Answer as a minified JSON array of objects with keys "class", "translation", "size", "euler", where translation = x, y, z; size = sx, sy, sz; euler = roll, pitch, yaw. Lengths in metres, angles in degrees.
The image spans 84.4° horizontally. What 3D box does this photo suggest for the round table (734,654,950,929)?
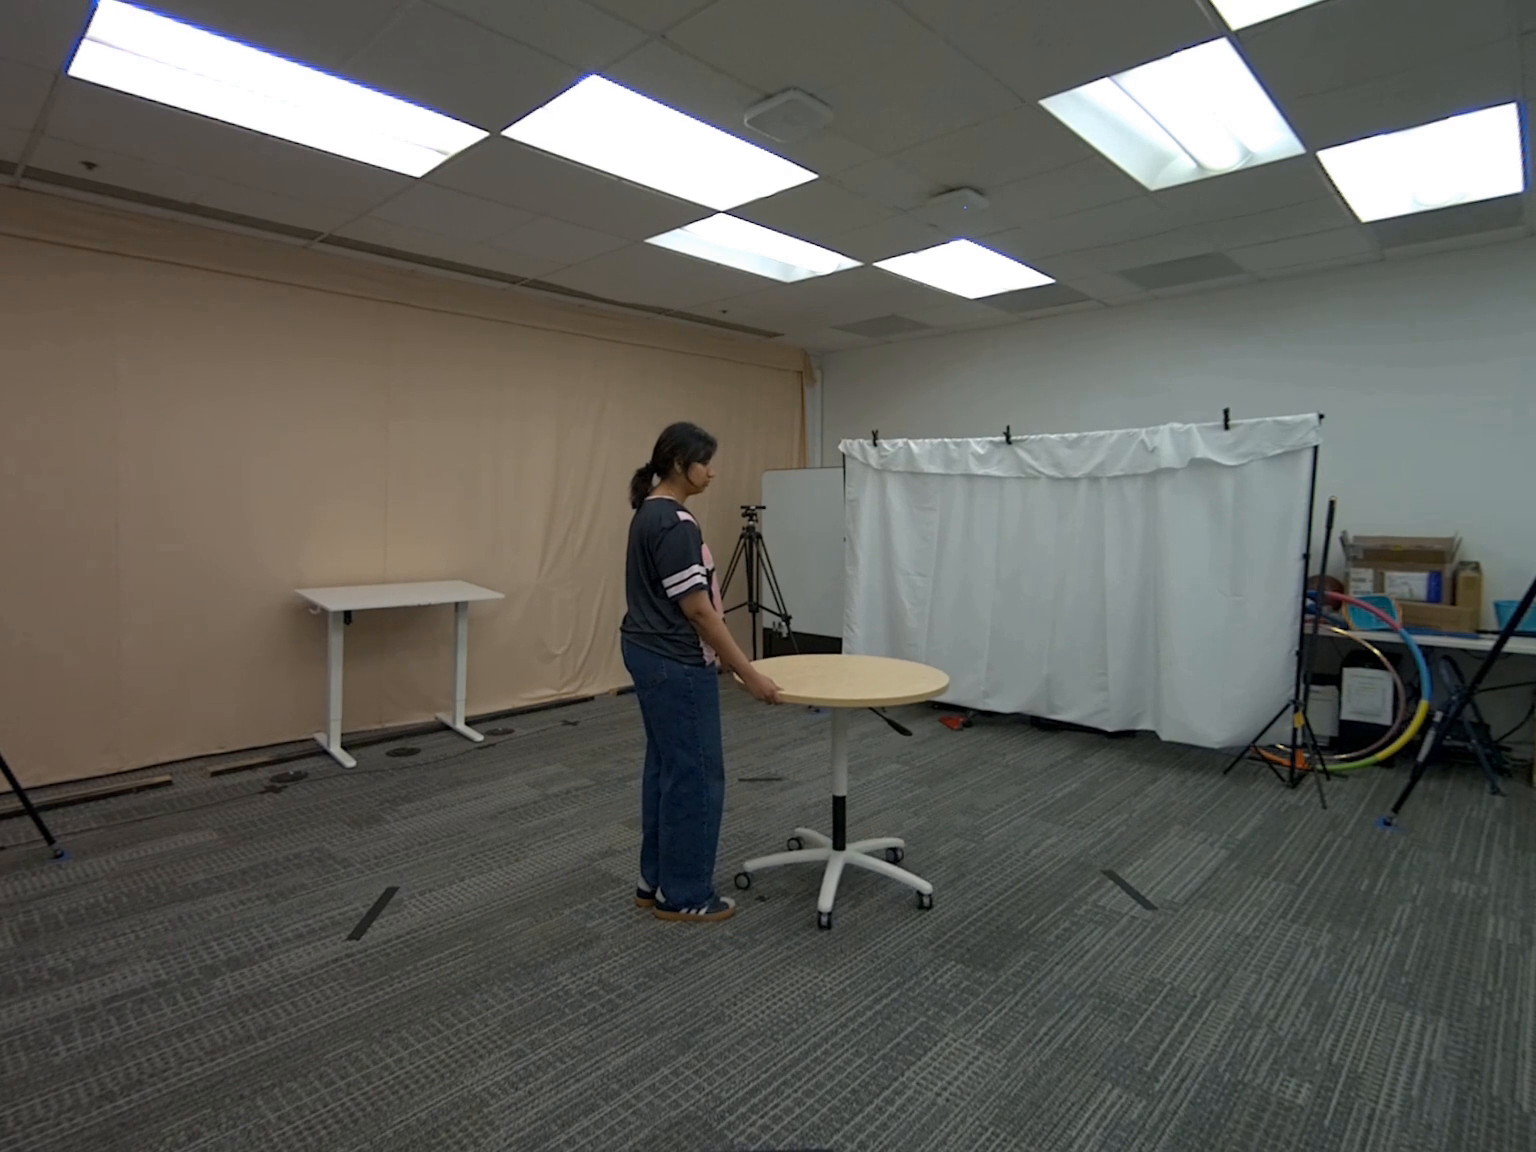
[{"class":"round table","translation":[0.251,0.743,3.056],"size":[0.784,0.785,0.788],"euler":[0,4,-2]}]
